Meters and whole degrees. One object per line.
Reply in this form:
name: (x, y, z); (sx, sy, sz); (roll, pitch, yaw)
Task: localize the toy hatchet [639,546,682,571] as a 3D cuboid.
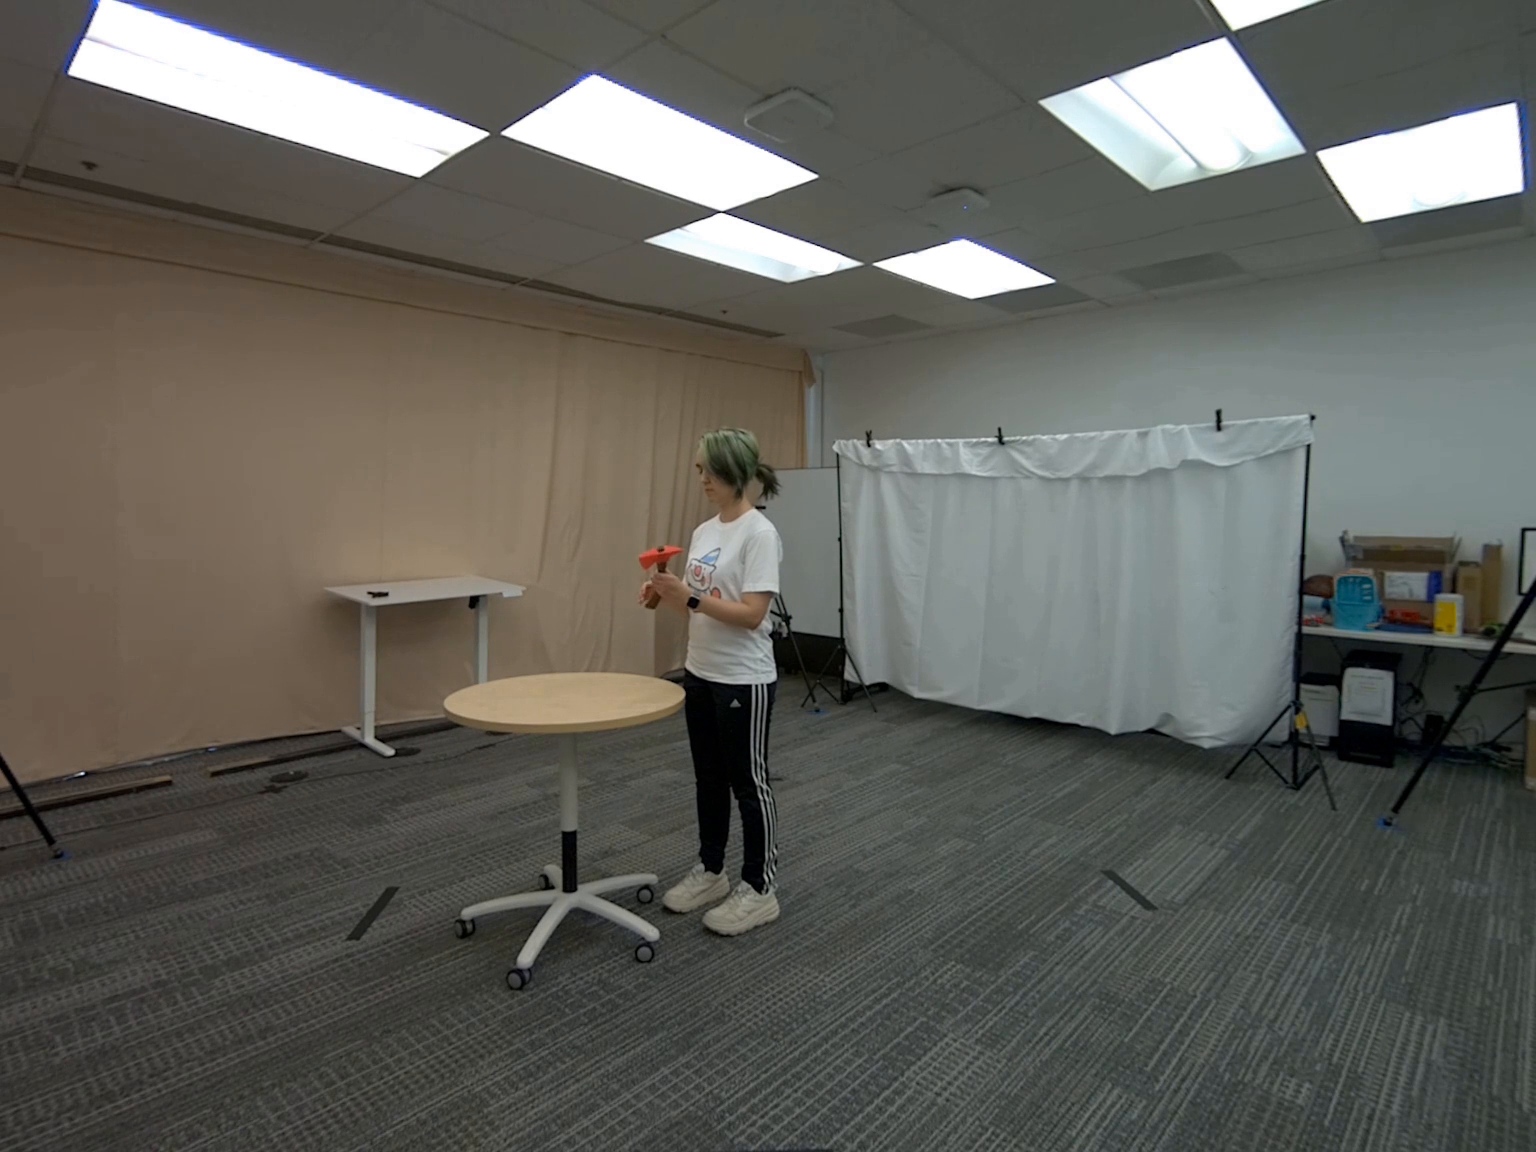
toy hatchet: (-0.362, 0.009, 2.625); (0.127, 0.269, 0.030); (3, 43, -29)
